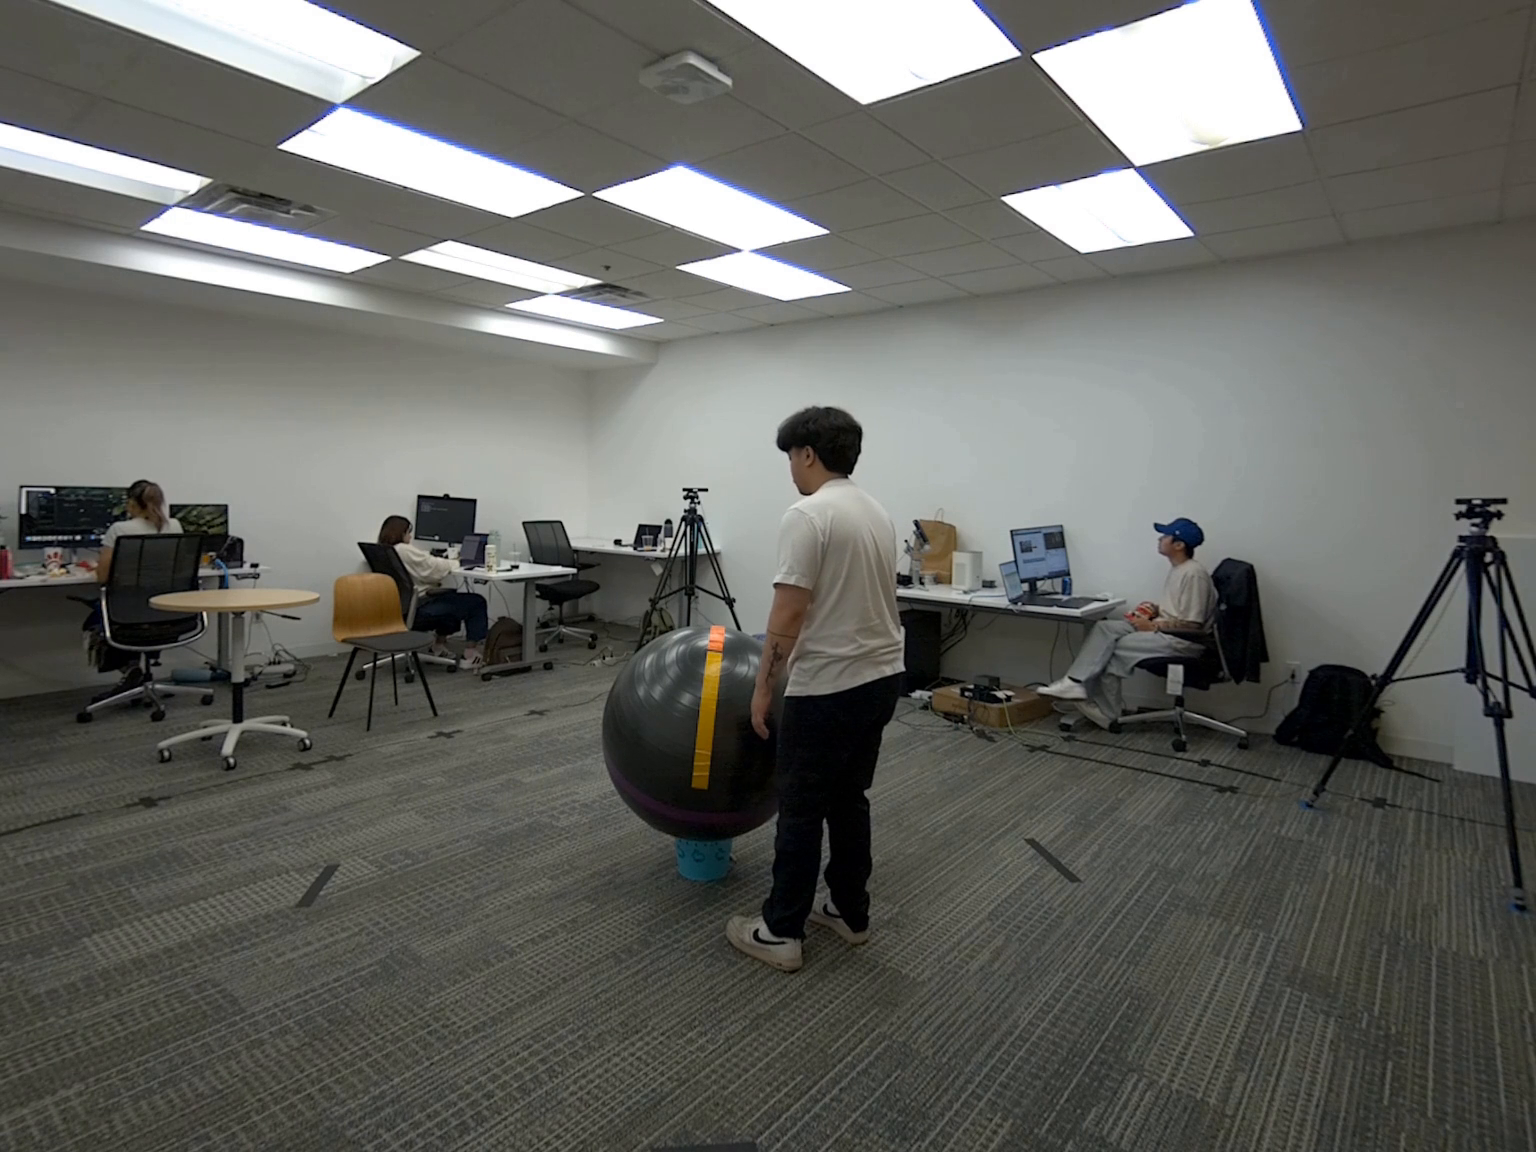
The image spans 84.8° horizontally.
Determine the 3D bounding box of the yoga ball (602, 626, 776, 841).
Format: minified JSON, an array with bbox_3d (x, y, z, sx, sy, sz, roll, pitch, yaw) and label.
[{"bbox_3d":[-0.232,0.560,3.085,0.757,0.756,0.761,1,4,-2],"label":"yoga ball"}]
